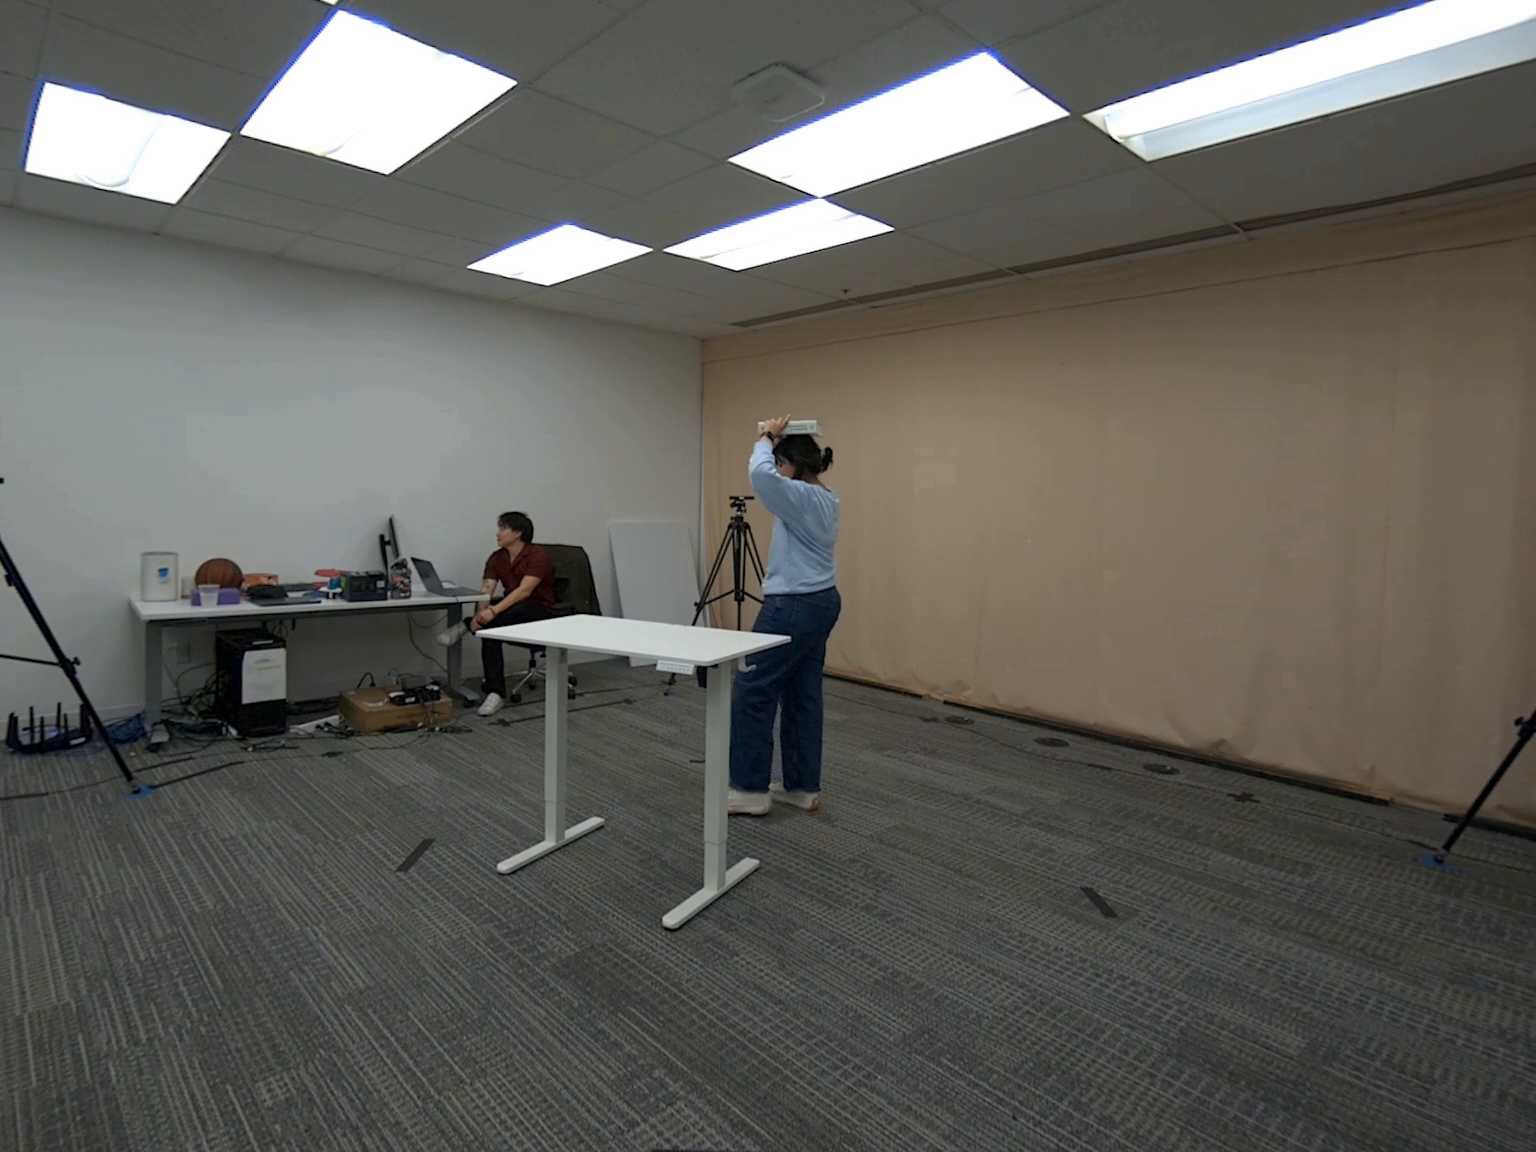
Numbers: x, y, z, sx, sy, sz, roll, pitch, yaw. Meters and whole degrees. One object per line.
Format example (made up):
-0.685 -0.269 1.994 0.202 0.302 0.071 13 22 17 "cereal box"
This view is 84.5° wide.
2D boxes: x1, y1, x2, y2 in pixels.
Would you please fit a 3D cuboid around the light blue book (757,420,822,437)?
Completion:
0.089 -0.665 3.799 0.264 0.059 0.190 0 5 12 "light blue book"
